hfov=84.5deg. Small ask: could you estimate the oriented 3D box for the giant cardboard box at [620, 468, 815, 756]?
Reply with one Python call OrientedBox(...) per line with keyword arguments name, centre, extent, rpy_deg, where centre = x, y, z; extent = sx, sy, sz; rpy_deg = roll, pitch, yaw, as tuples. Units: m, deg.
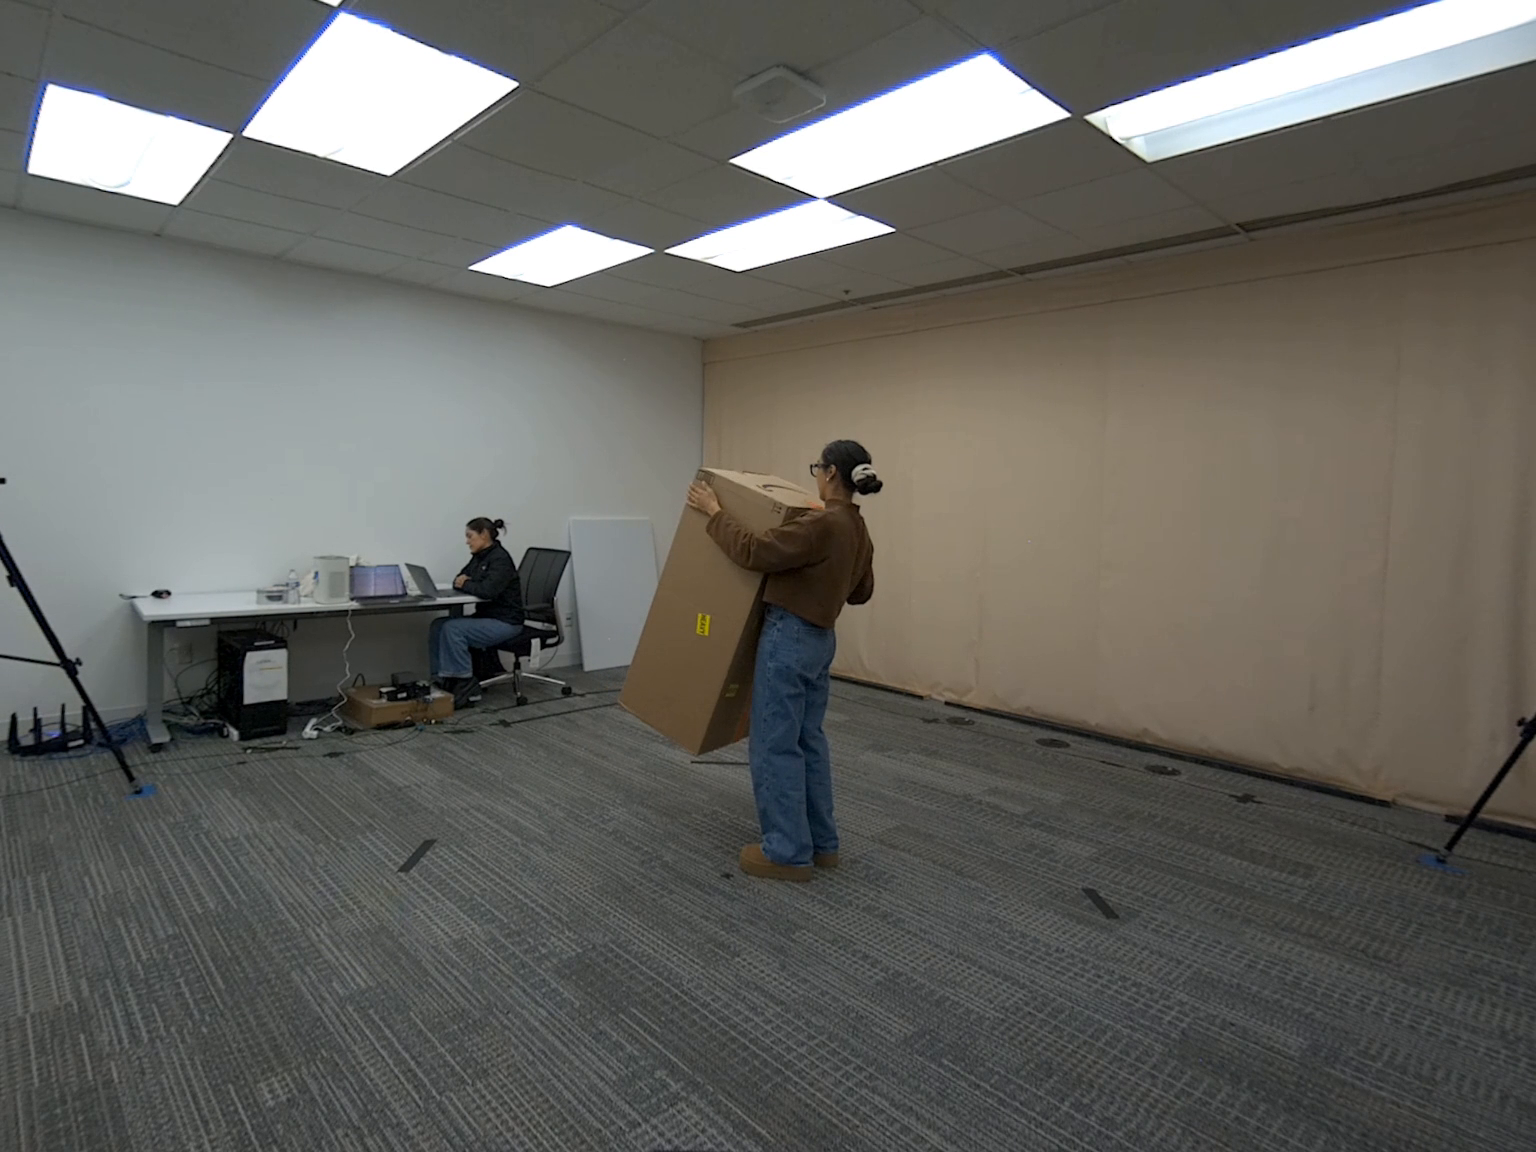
OrientedBox(name="giant cardboard box", centre=(-0.135, 0.127, 3.432), extent=(0.437, 1.020, 0.565), rpy_deg=(26, 13, 28))
